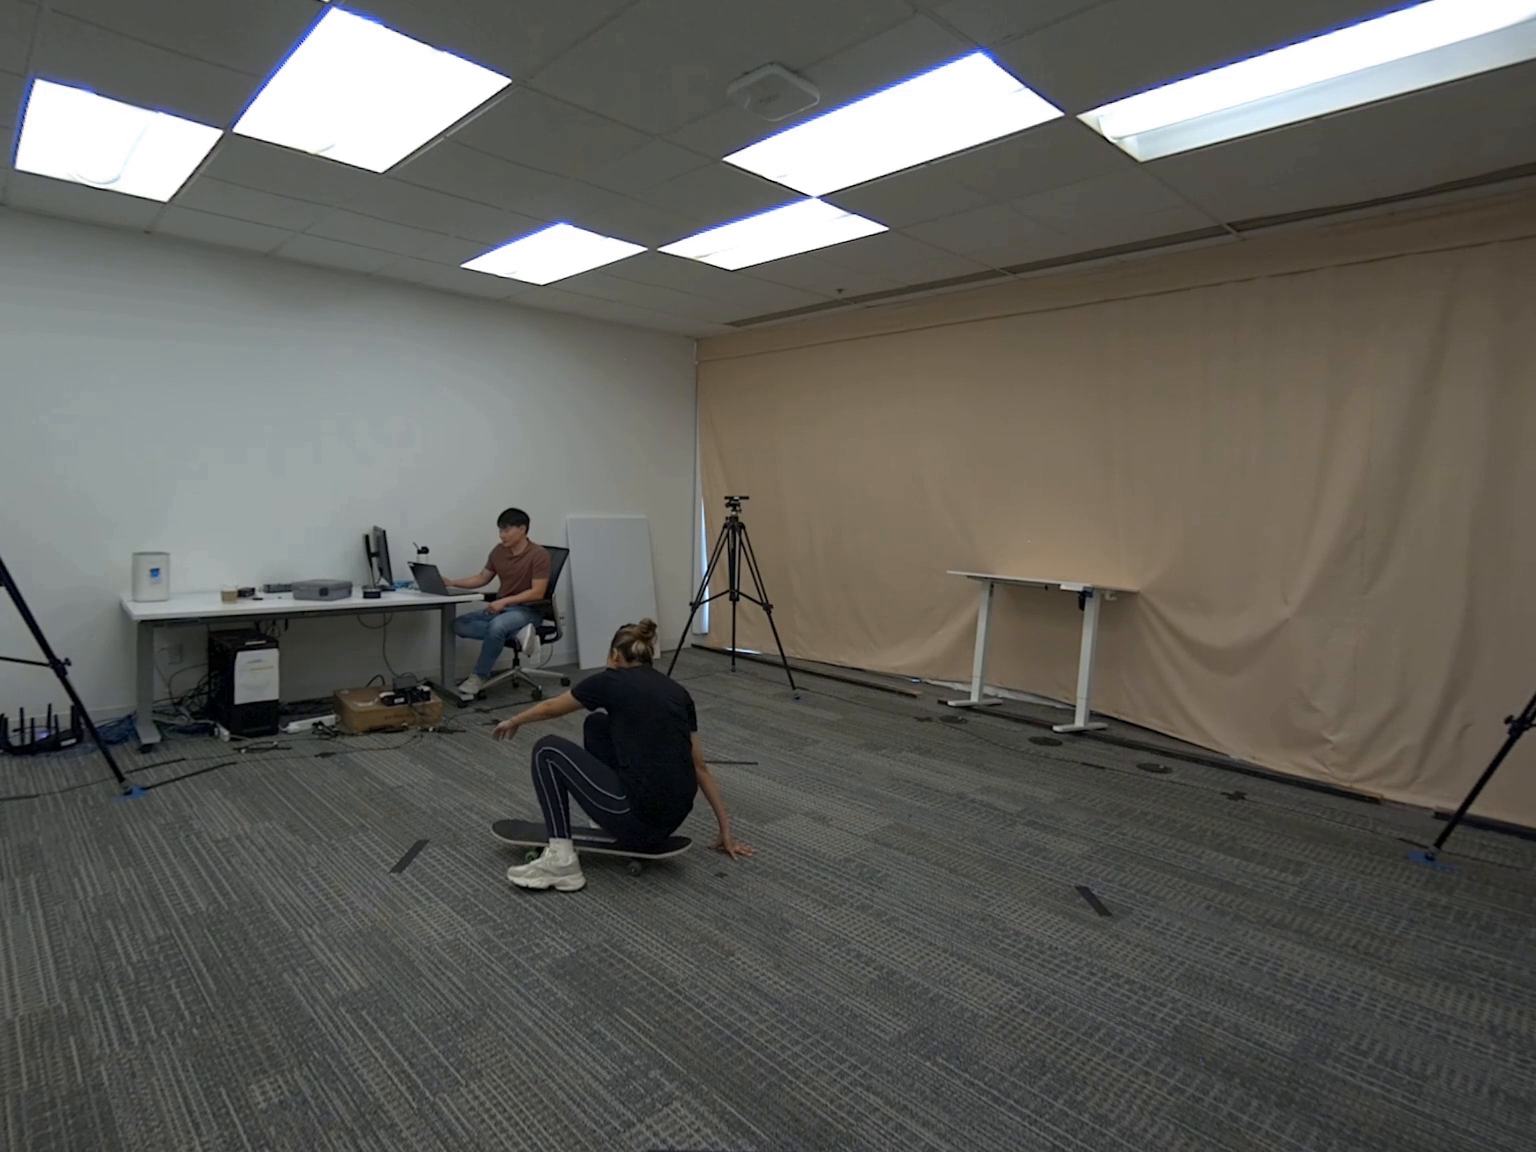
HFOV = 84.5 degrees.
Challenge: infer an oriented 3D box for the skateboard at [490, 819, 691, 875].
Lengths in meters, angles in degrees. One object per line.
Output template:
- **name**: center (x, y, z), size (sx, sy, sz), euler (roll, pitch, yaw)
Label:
- **skateboard**: center (-0.681, 1.019, 3.192), size (0.792, 0.110, 0.192), euler (3, 4, 10)
